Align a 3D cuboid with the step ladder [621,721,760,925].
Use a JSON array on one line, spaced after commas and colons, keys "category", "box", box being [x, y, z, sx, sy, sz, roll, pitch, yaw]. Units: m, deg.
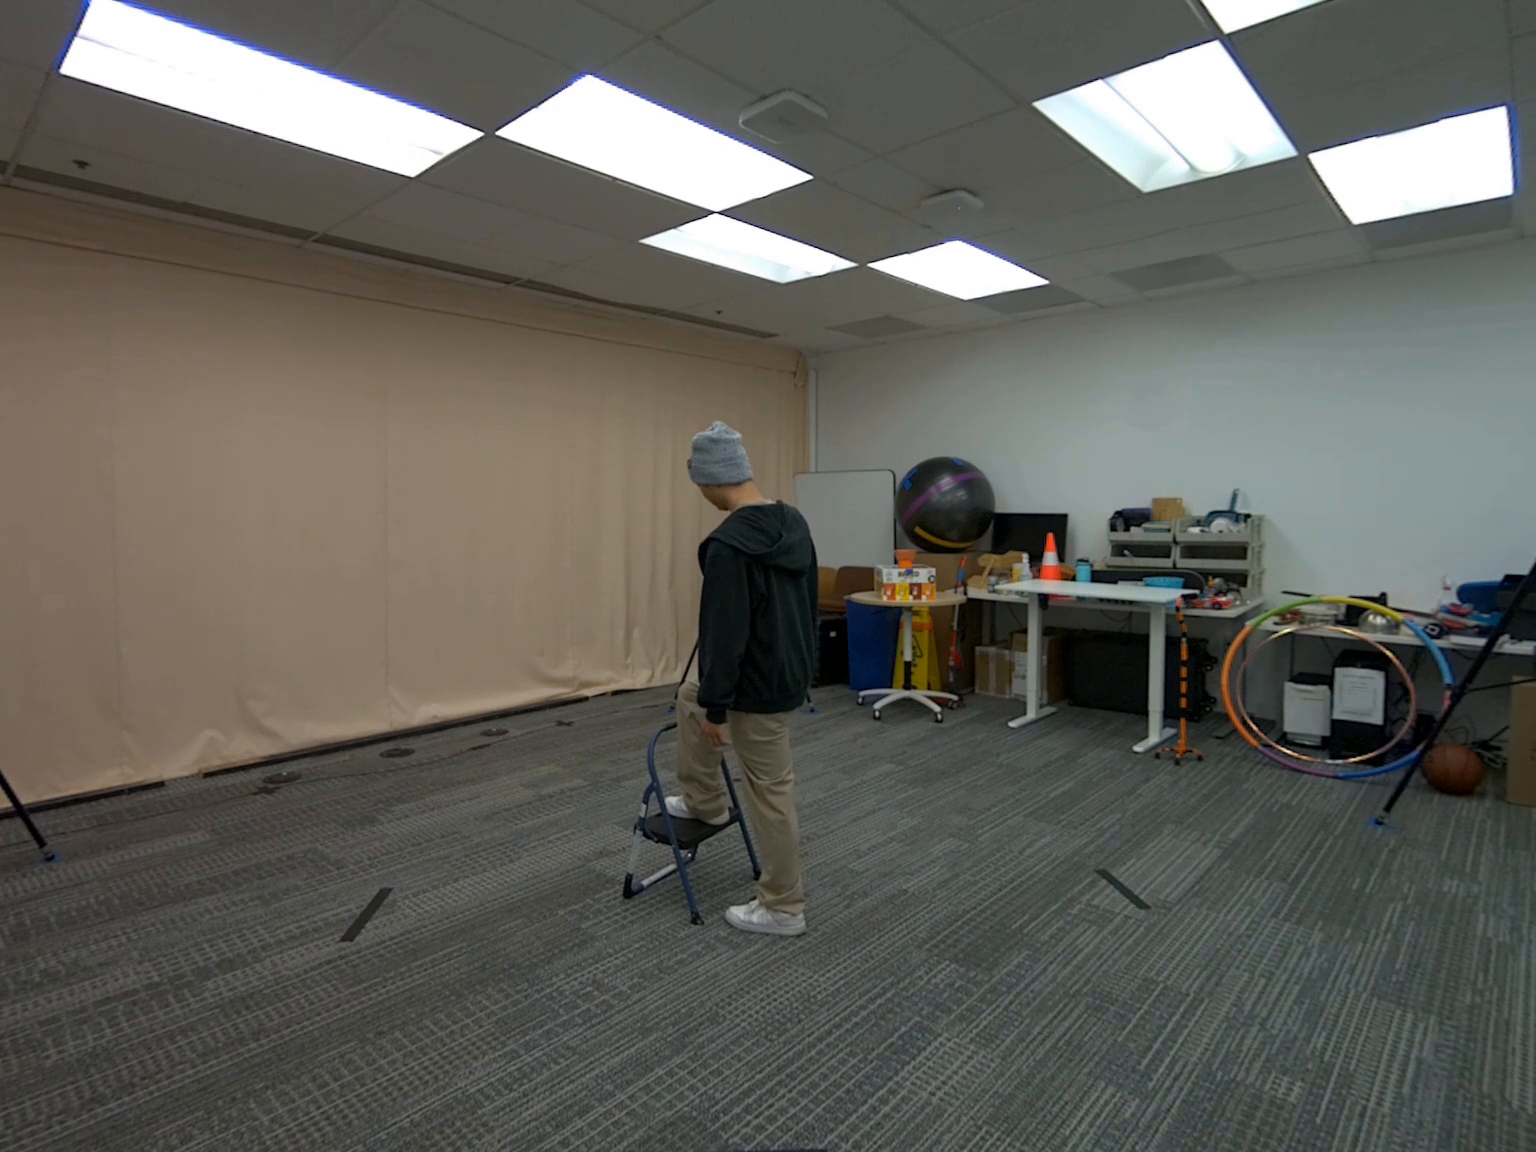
[{"category": "step ladder", "box": [-0.269, 0.838, 3.054, 0.360, 0.605, 0.419, 2, 4, 32]}]
